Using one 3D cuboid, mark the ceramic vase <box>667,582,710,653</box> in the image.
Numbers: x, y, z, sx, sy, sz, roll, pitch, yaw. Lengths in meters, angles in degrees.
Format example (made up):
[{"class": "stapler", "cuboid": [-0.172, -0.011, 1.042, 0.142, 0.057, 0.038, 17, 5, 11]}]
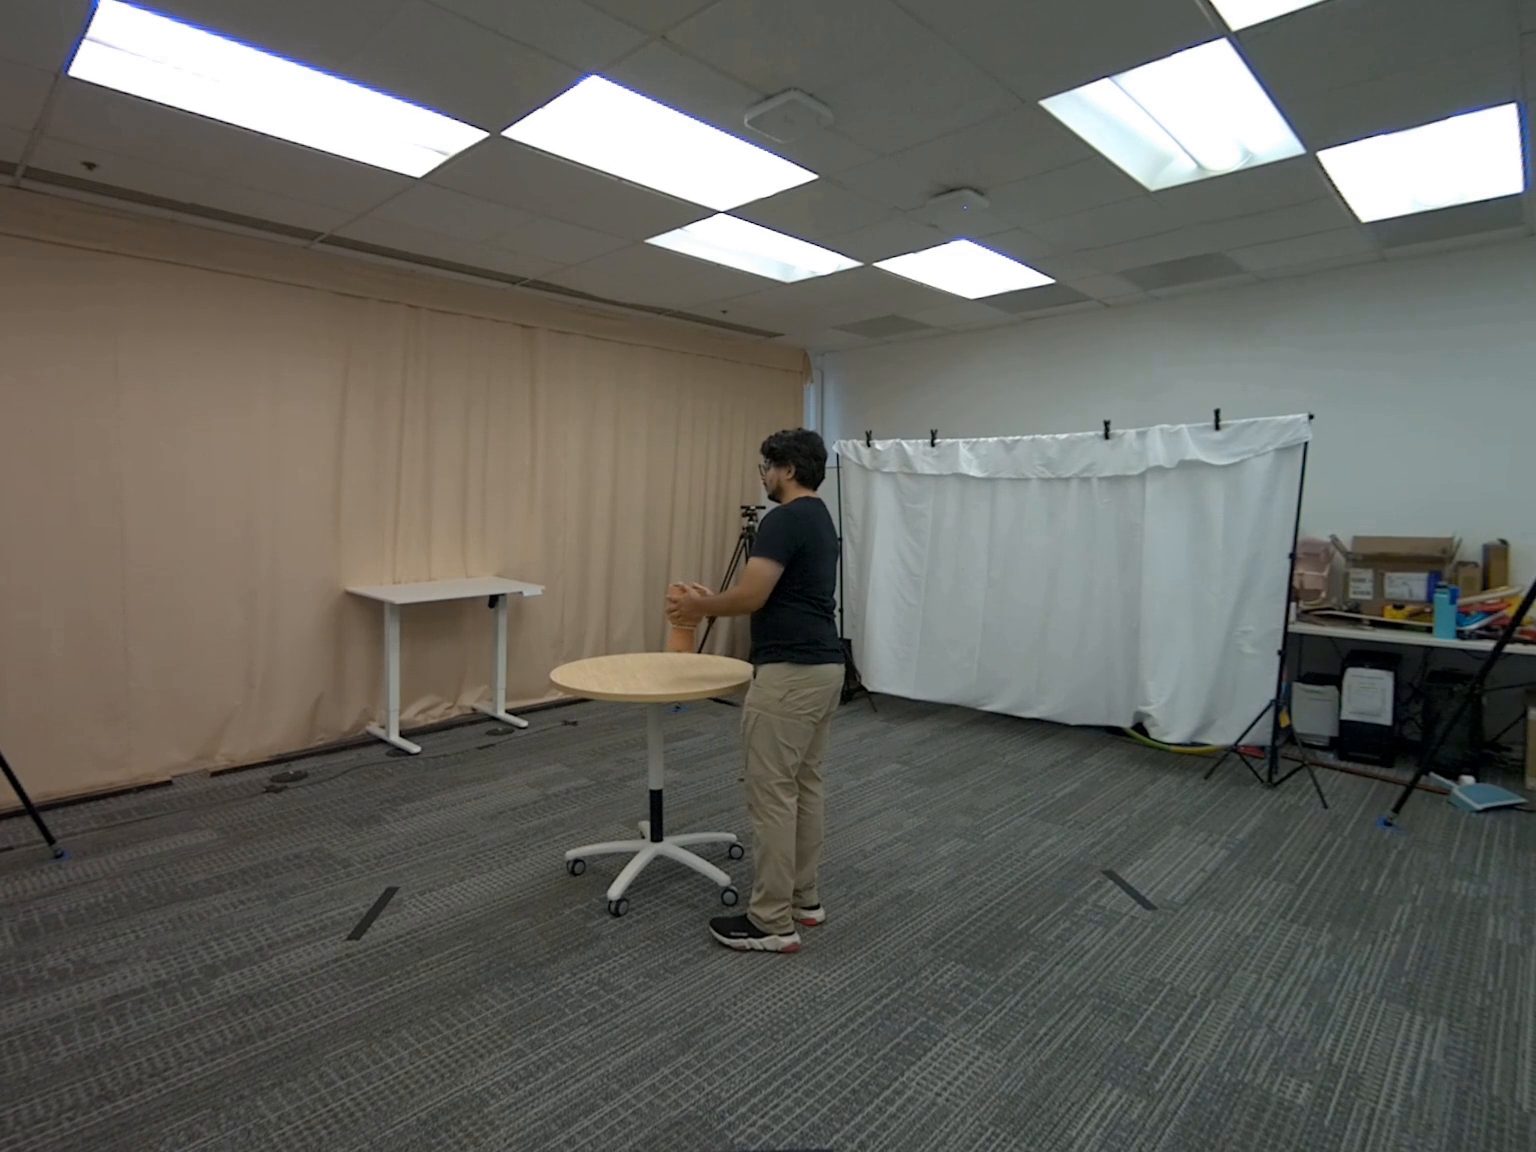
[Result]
[{"class": "ceramic vase", "cuboid": [-0.292, 0.151, 2.985, 0.135, 0.219, 0.158, 4, 2, 2]}]
